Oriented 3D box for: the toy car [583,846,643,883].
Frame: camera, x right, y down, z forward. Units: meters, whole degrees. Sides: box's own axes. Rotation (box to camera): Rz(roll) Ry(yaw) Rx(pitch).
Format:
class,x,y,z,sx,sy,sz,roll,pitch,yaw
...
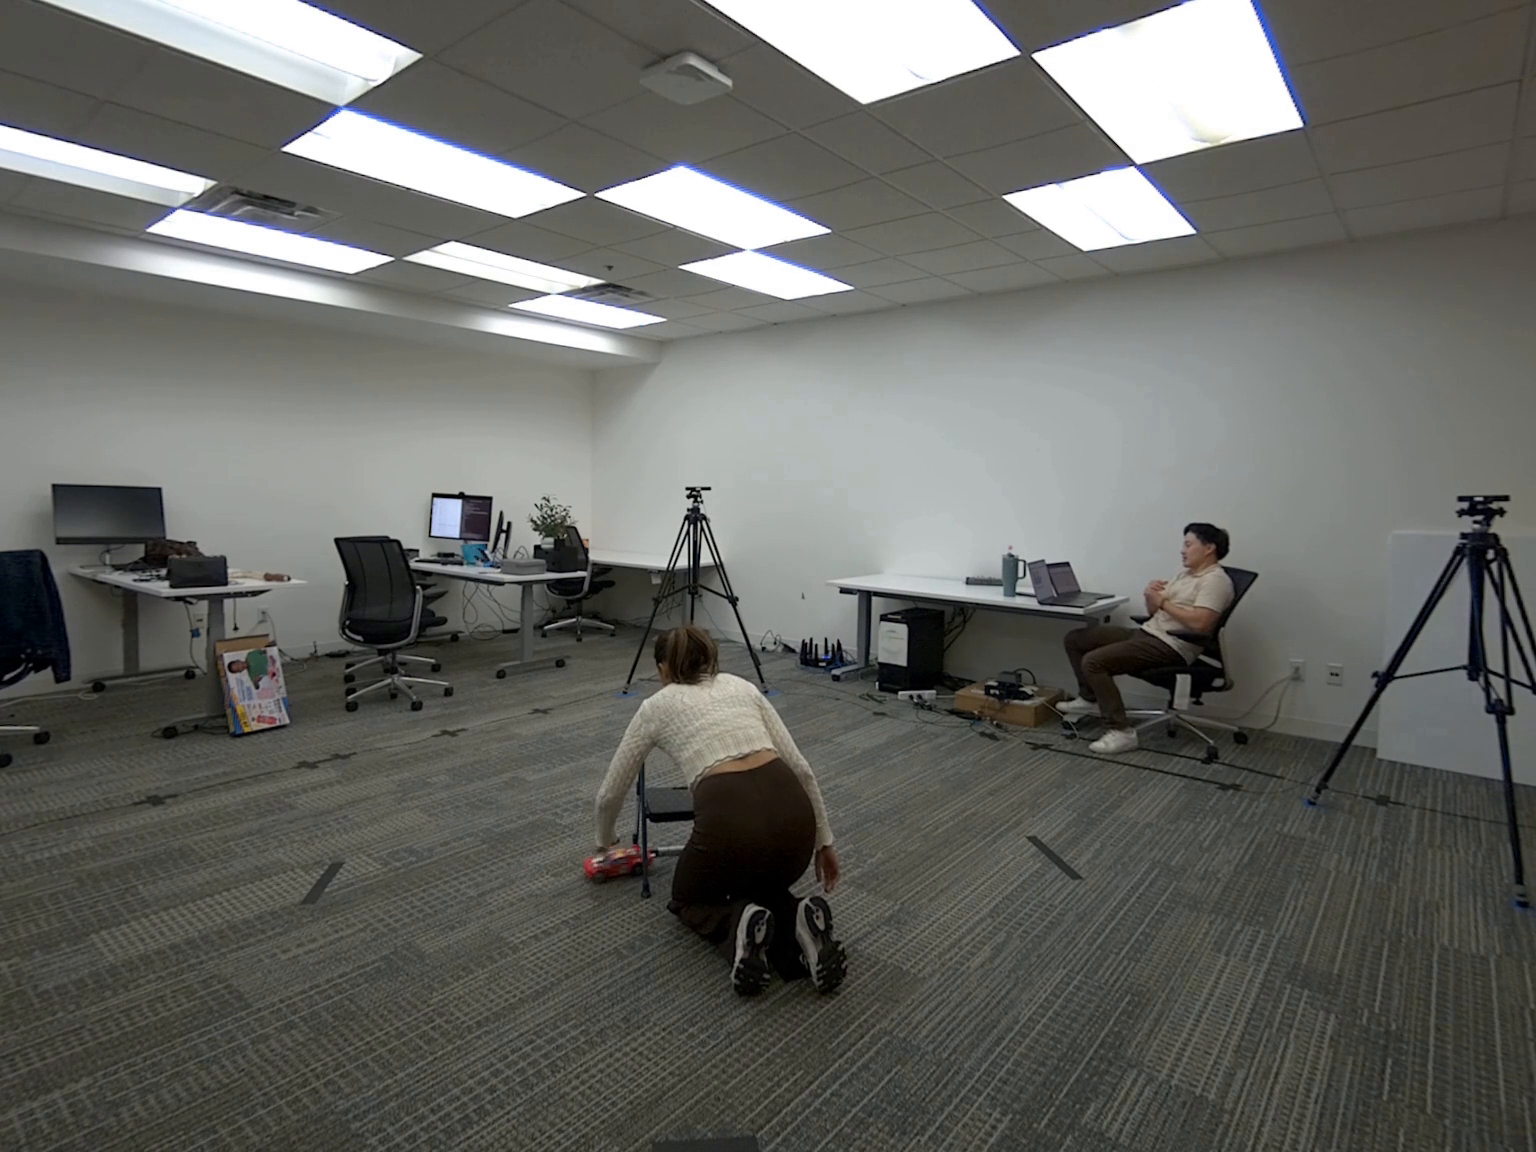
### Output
class,x,y,z,sx,sy,sz,roll,pitch,yaw
toy car,-0.556,1.037,3.063,0.250,0.082,0.134,-14,10,-23
